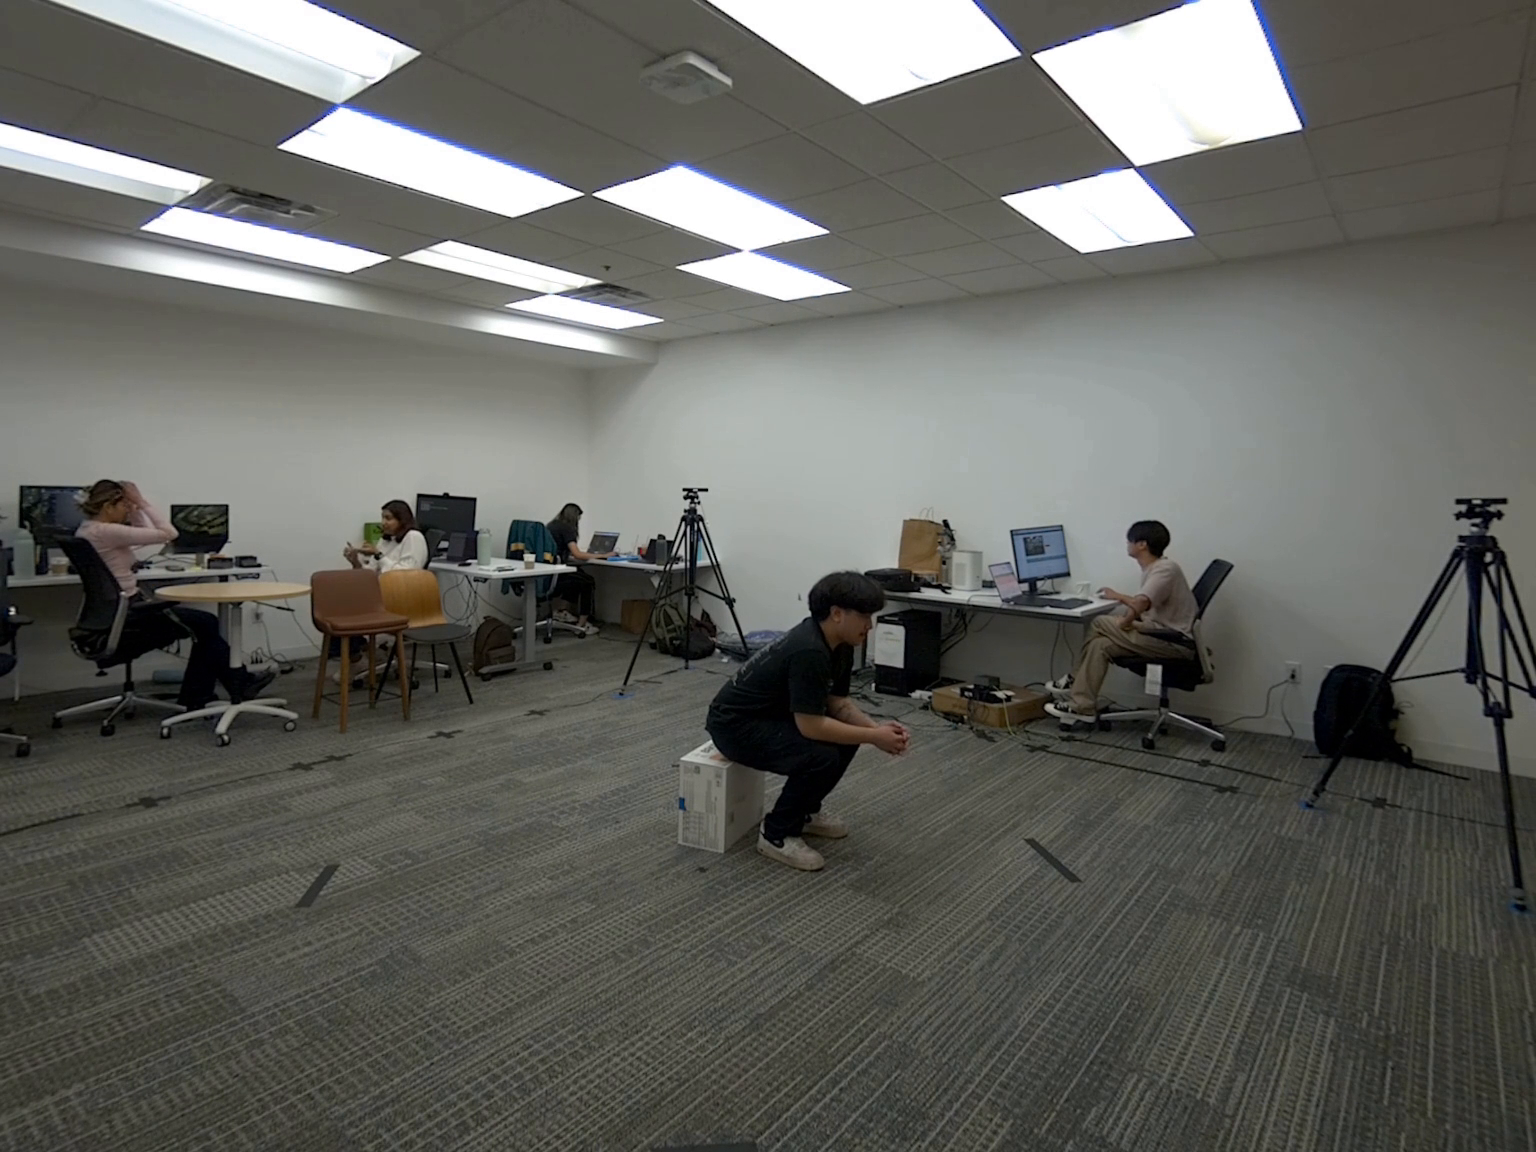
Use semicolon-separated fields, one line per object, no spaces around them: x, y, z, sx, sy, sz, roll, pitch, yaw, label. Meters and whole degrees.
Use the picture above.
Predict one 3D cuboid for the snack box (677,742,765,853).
-0.194;0.869;3.460;0.211;0.339;0.397;2;5;23;snack box
